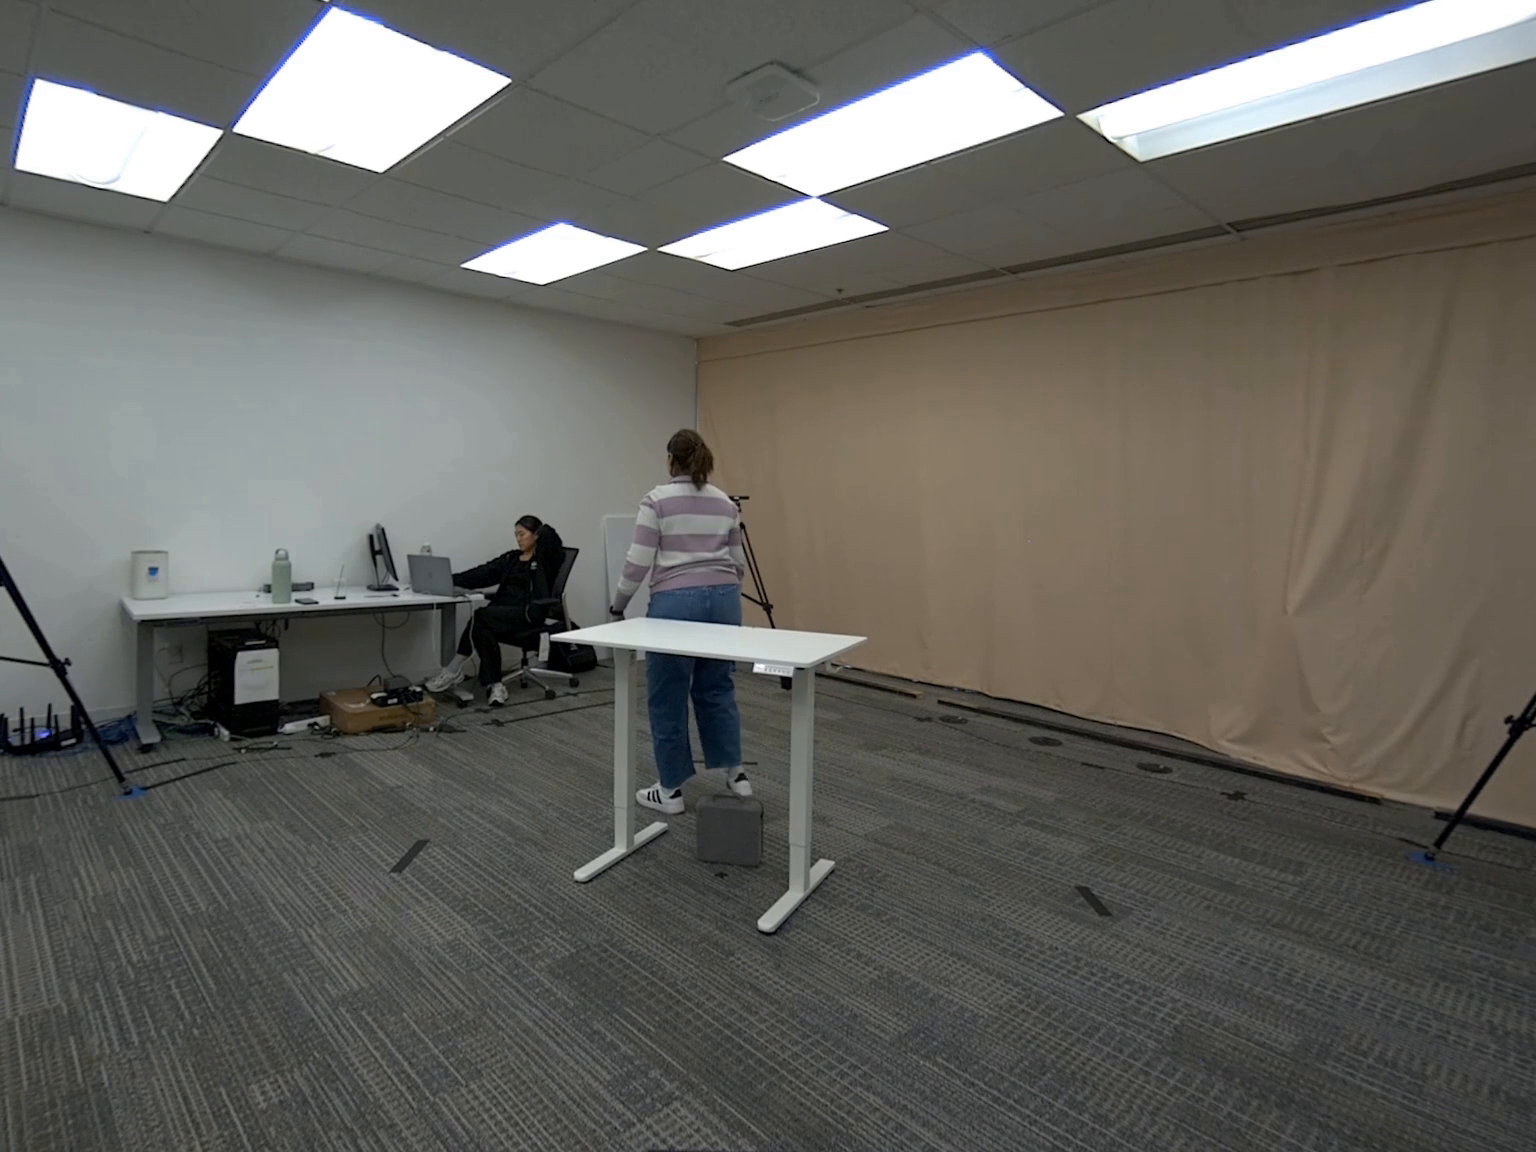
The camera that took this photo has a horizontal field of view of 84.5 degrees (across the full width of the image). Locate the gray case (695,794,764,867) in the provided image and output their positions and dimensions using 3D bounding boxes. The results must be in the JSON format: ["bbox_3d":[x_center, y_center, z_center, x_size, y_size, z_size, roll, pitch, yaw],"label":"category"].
[{"bbox_3d":[-0.144,0.962,3.203,0.259,0.258,0.104,0,12,9],"label":"gray case"}]
